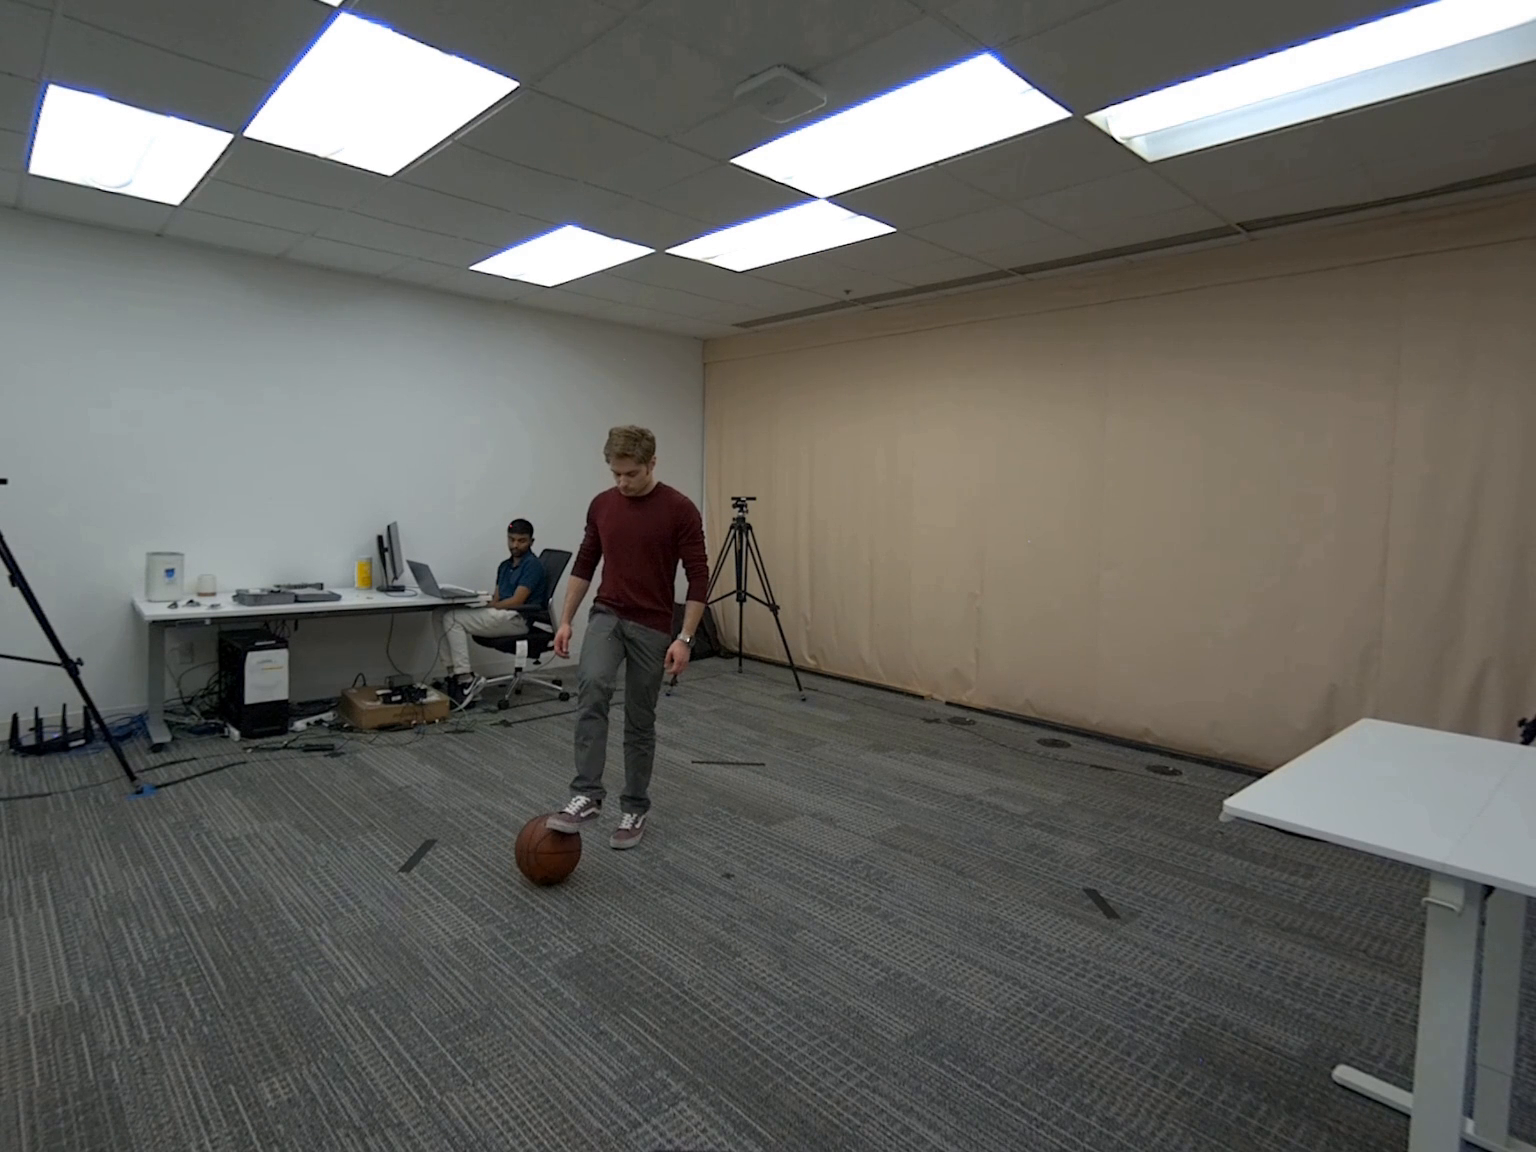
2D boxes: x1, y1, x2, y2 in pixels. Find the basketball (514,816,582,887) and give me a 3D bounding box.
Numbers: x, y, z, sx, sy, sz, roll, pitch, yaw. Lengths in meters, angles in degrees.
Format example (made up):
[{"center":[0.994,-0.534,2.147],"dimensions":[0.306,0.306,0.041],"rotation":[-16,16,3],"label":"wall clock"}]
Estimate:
[{"center":[-0.800,0.979,3.025],"dimensions":[0.236,0.235,0.237],"rotation":[1,4,-1],"label":"basketball"}]
